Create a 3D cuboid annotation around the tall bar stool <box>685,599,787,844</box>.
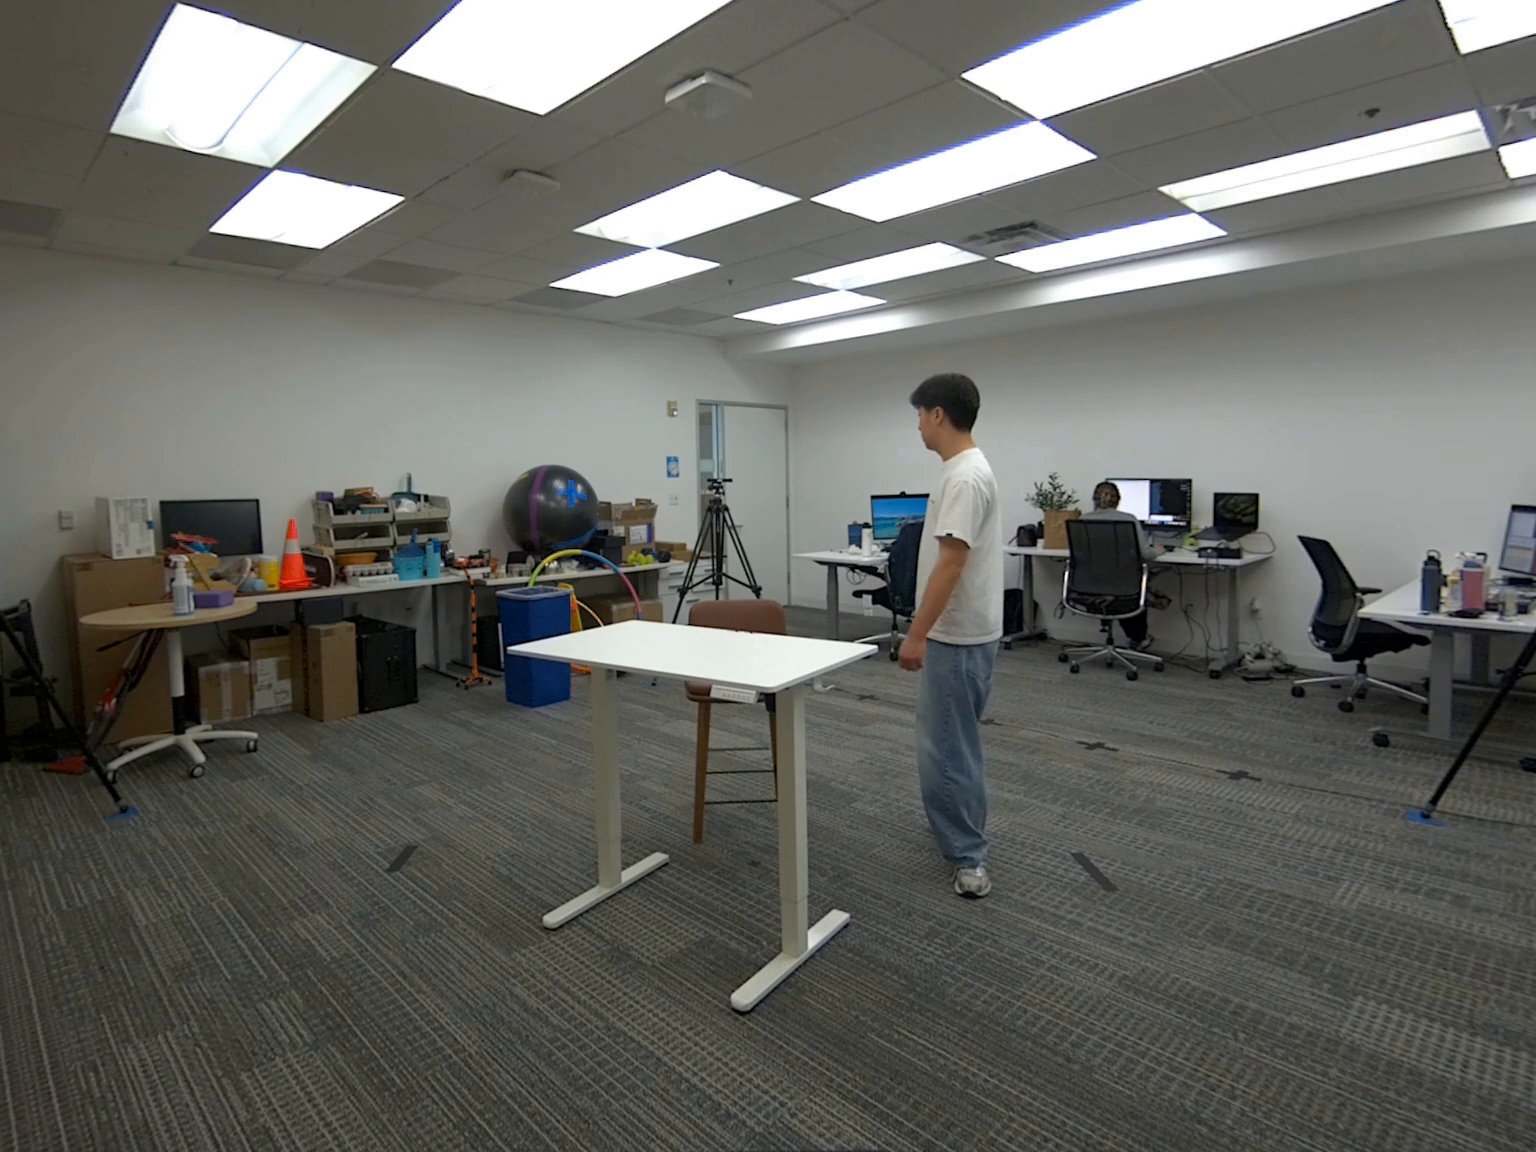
[{"bbox_3d":[-0.103,0.567,3.496,0.455,0.888,0.470,-1,2,-5],"label":"tall bar stool"}]
